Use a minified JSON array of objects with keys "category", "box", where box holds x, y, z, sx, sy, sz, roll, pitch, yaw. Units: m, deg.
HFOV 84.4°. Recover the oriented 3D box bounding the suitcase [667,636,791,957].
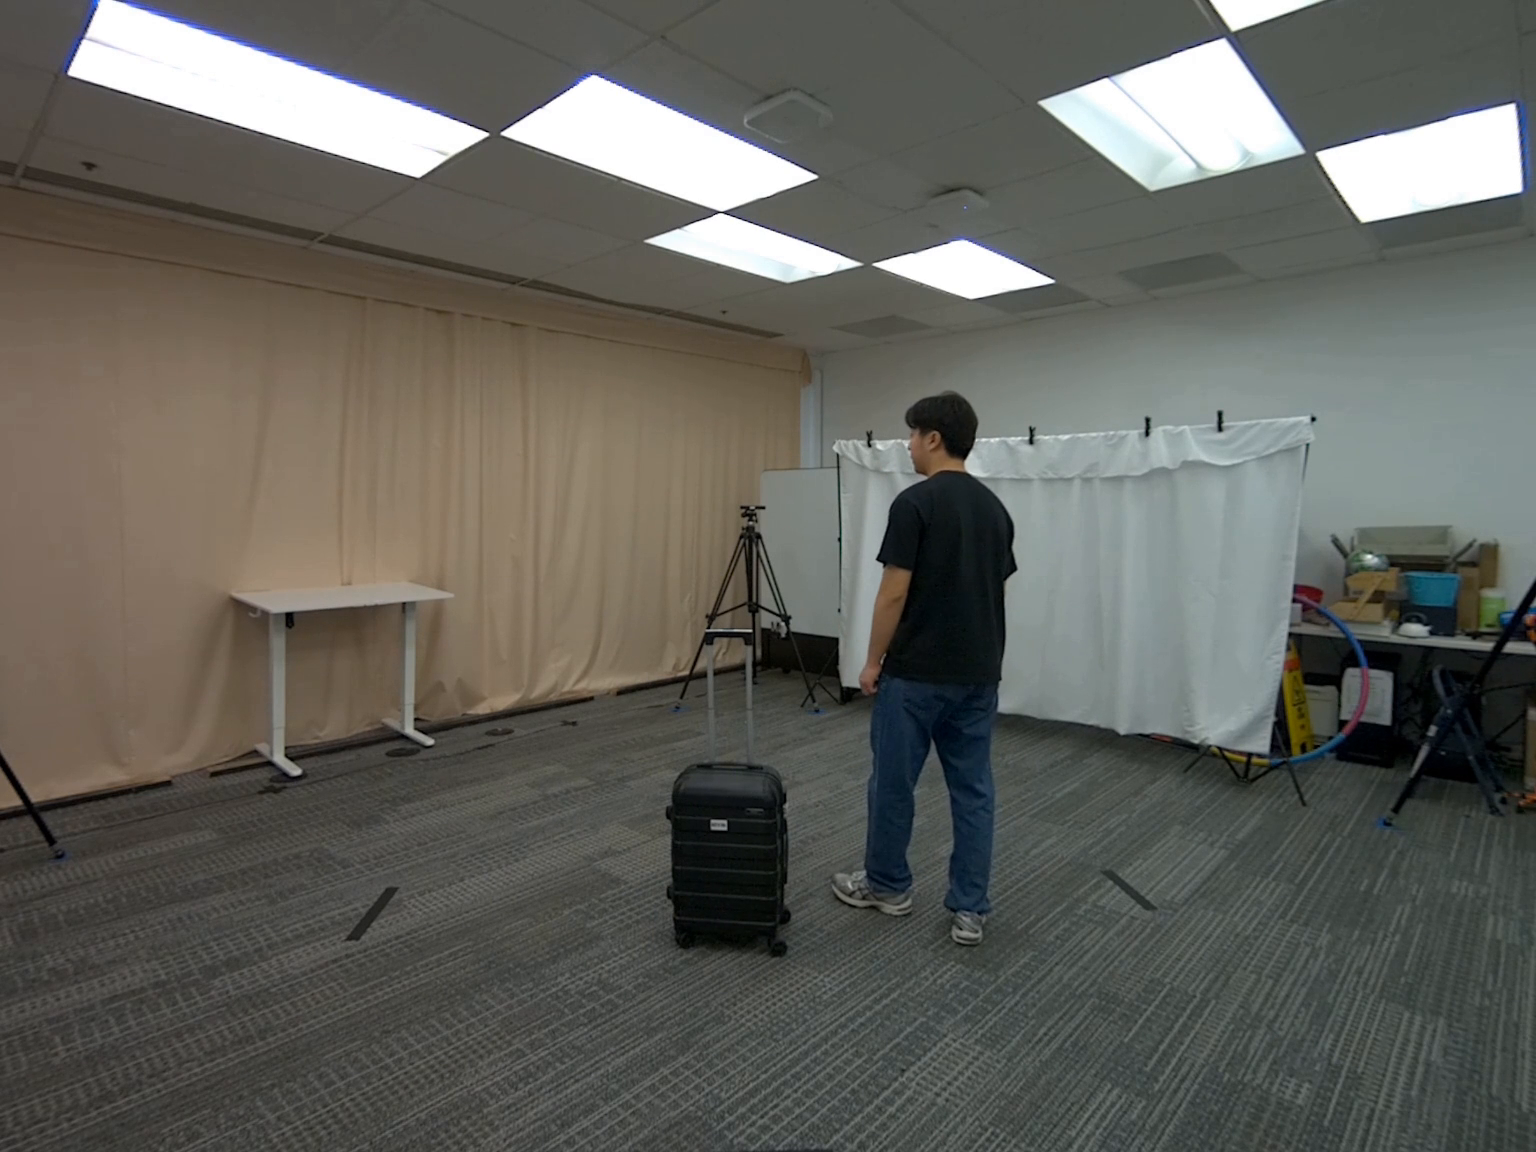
[{"category":"suitcase","box":[-0.130,0.695,2.698,0.387,0.975,0.256,-2,5,6]}]
